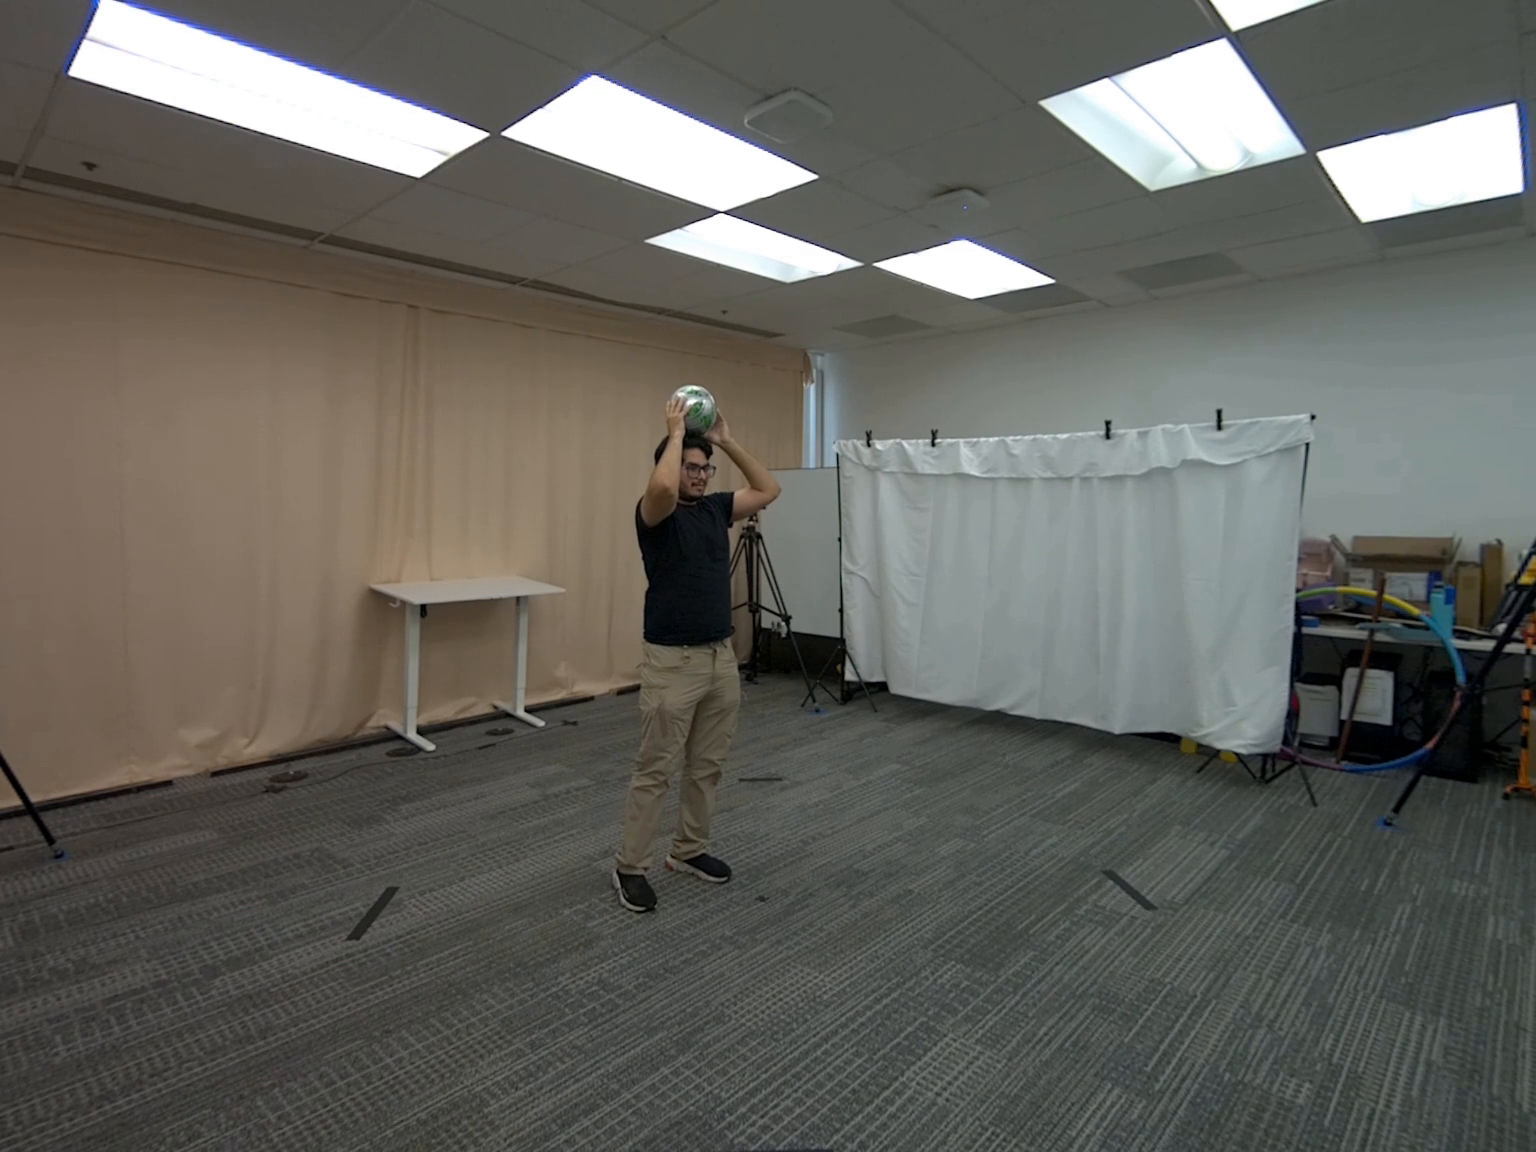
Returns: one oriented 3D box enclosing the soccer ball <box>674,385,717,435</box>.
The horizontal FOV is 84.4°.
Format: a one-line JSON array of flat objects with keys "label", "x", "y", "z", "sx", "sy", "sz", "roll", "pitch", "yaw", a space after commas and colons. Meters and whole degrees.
[{"label": "soccer ball", "x": -0.276, "y": -0.597, "z": 3.065, "sx": 0.187, "sy": 0.187, "sz": 0.188, "roll": 0, "pitch": 4, "yaw": -2}]
